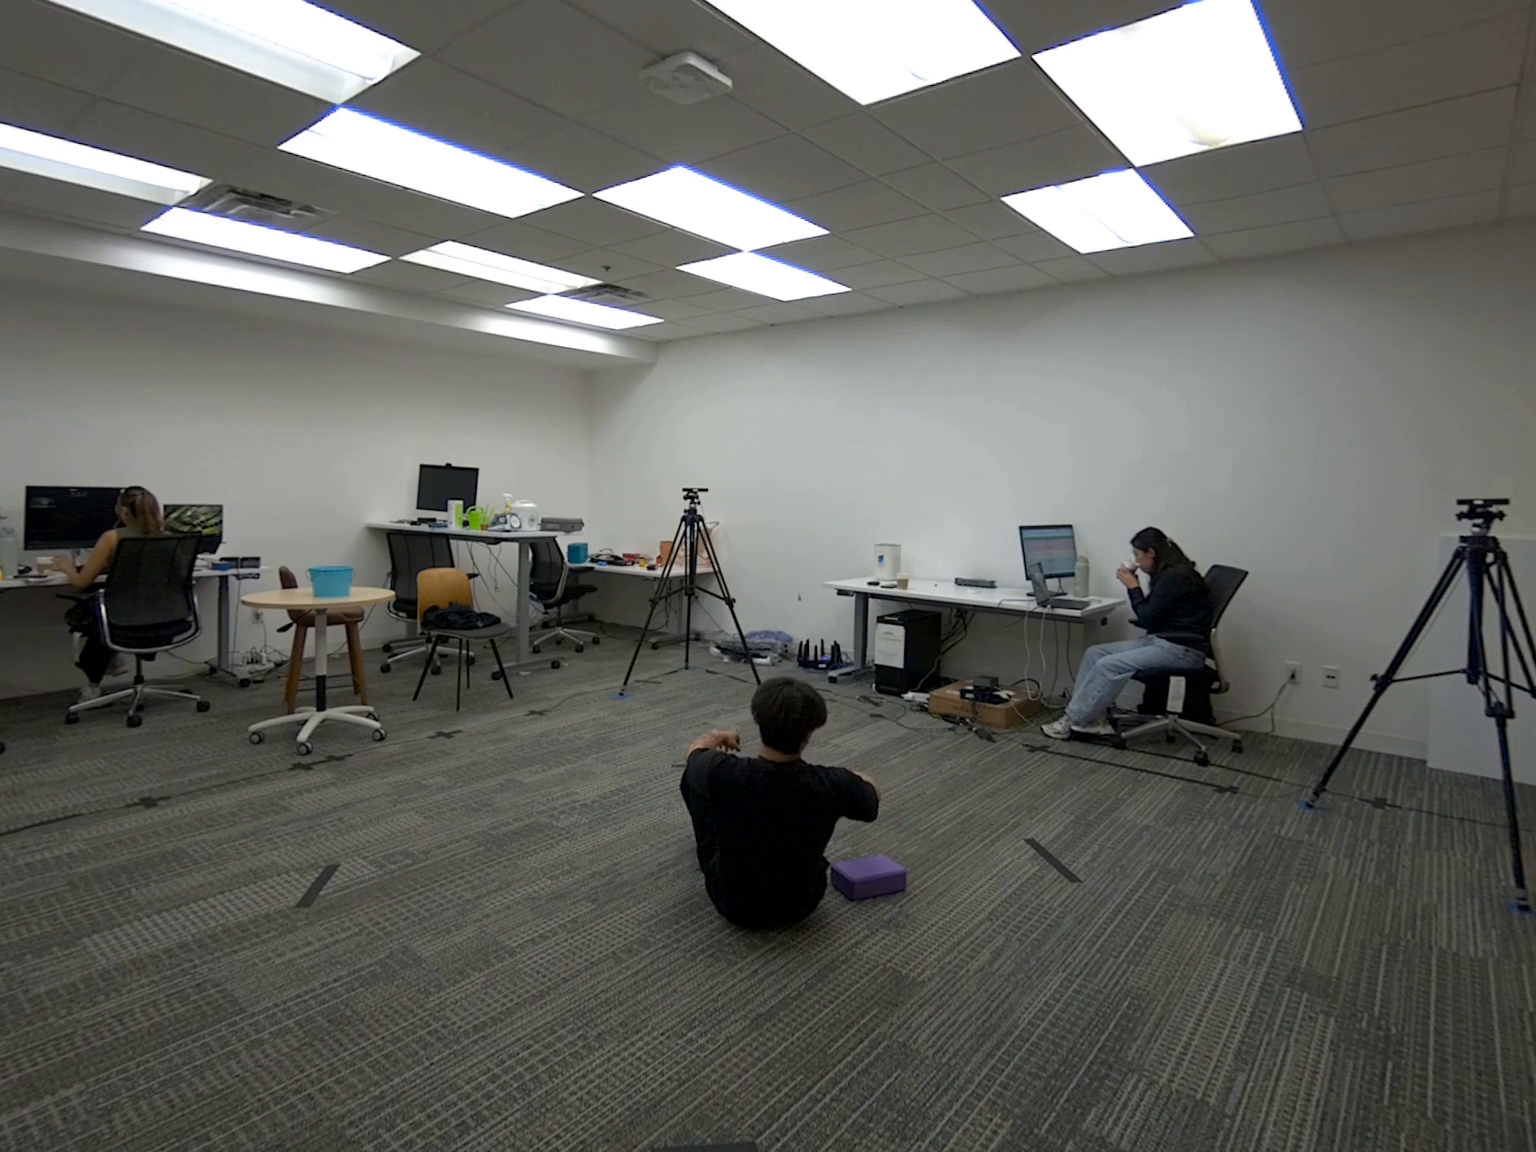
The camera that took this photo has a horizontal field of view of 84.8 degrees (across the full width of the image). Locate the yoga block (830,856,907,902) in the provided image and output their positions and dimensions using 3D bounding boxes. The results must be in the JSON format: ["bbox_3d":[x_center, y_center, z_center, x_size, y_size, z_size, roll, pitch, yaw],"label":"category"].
[{"bbox_3d":[0.348,1.057,2.989,0.224,0.076,0.153,-1,5,-25],"label":"yoga block"}]
